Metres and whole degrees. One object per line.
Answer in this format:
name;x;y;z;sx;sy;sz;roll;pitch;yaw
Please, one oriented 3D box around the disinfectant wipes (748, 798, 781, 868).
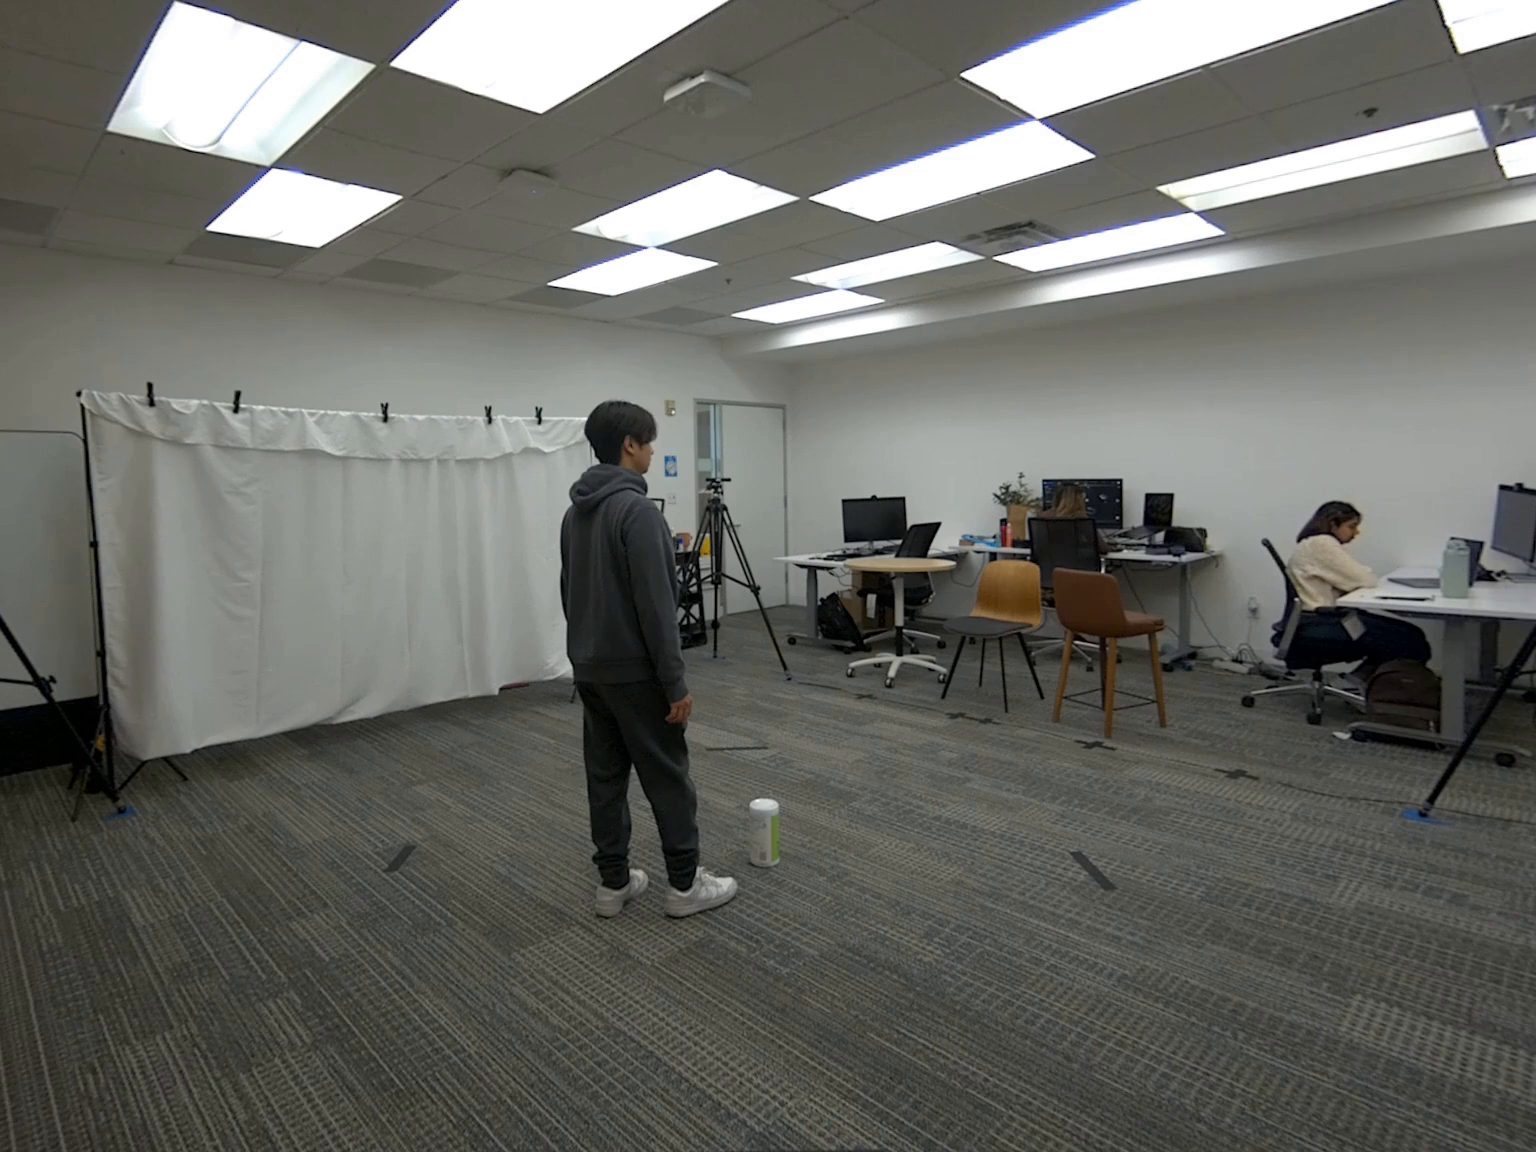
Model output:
disinfectant wipes;-0.012;0.935;3.106;0.118;0.217;0.118;0;4;-2
